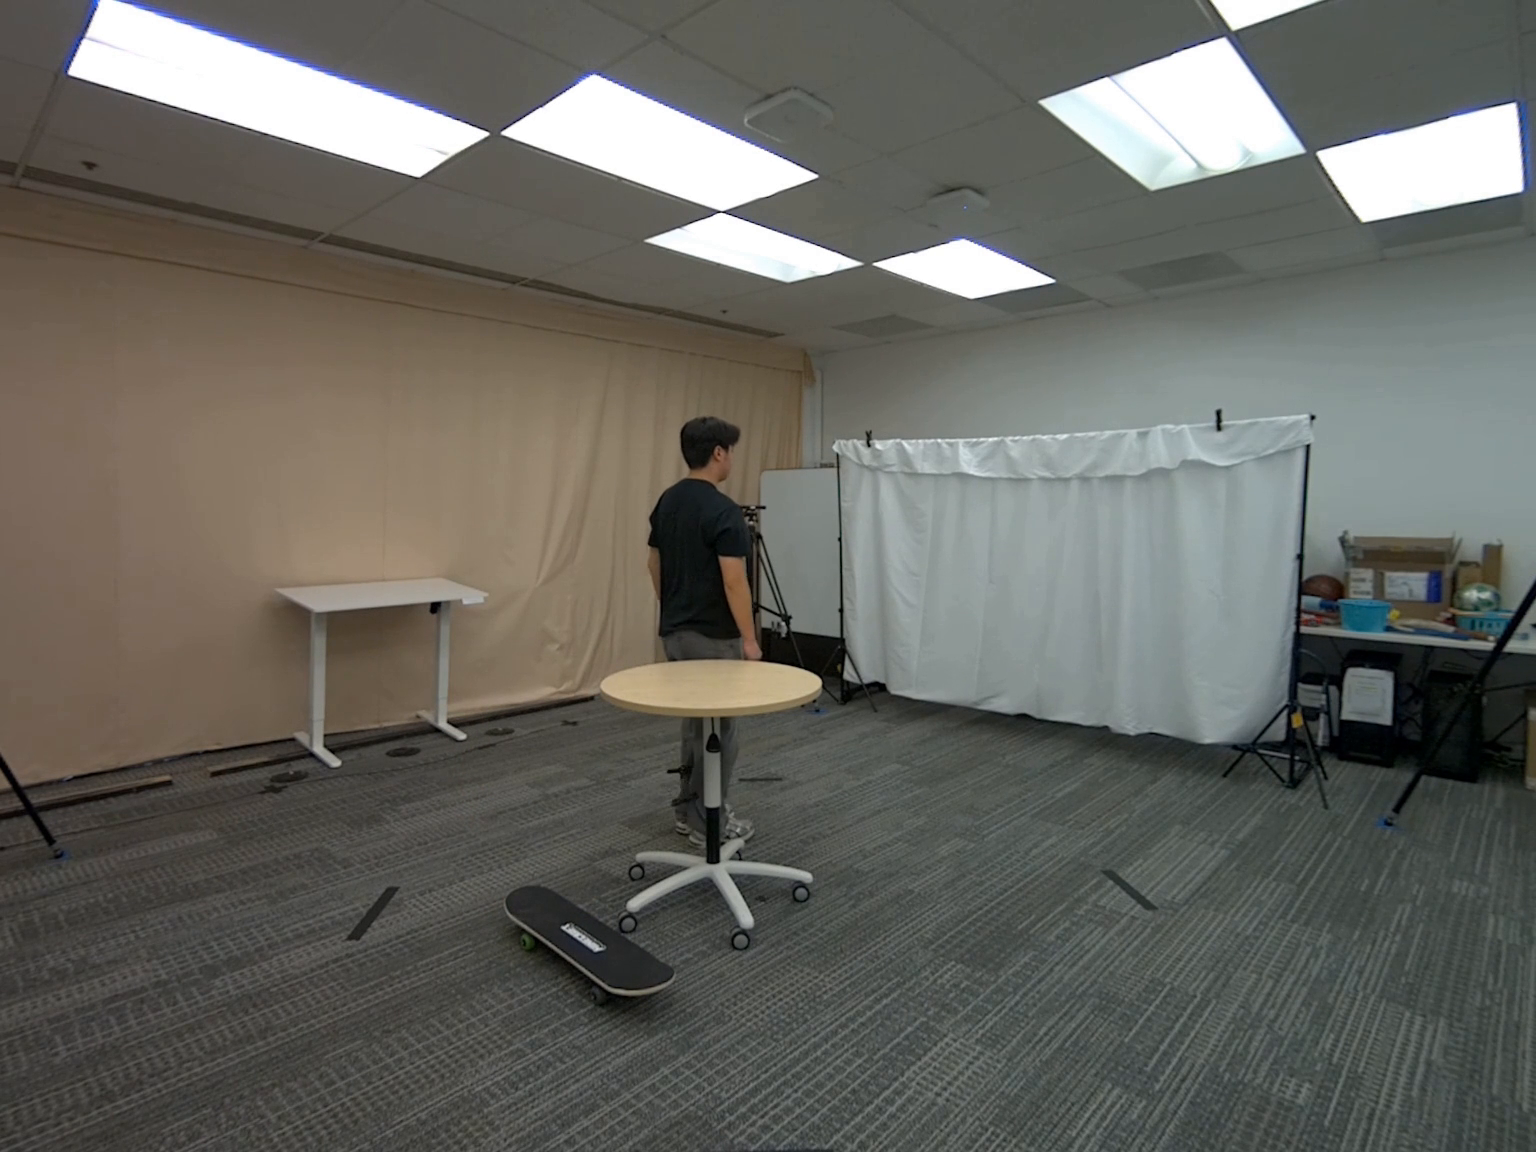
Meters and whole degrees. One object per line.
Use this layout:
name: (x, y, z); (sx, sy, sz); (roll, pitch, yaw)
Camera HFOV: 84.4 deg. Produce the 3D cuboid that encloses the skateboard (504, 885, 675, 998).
skateboard: (-0.565, 1.130, 2.548); (0.187, 0.110, 0.812); (-3, 5, -43)
